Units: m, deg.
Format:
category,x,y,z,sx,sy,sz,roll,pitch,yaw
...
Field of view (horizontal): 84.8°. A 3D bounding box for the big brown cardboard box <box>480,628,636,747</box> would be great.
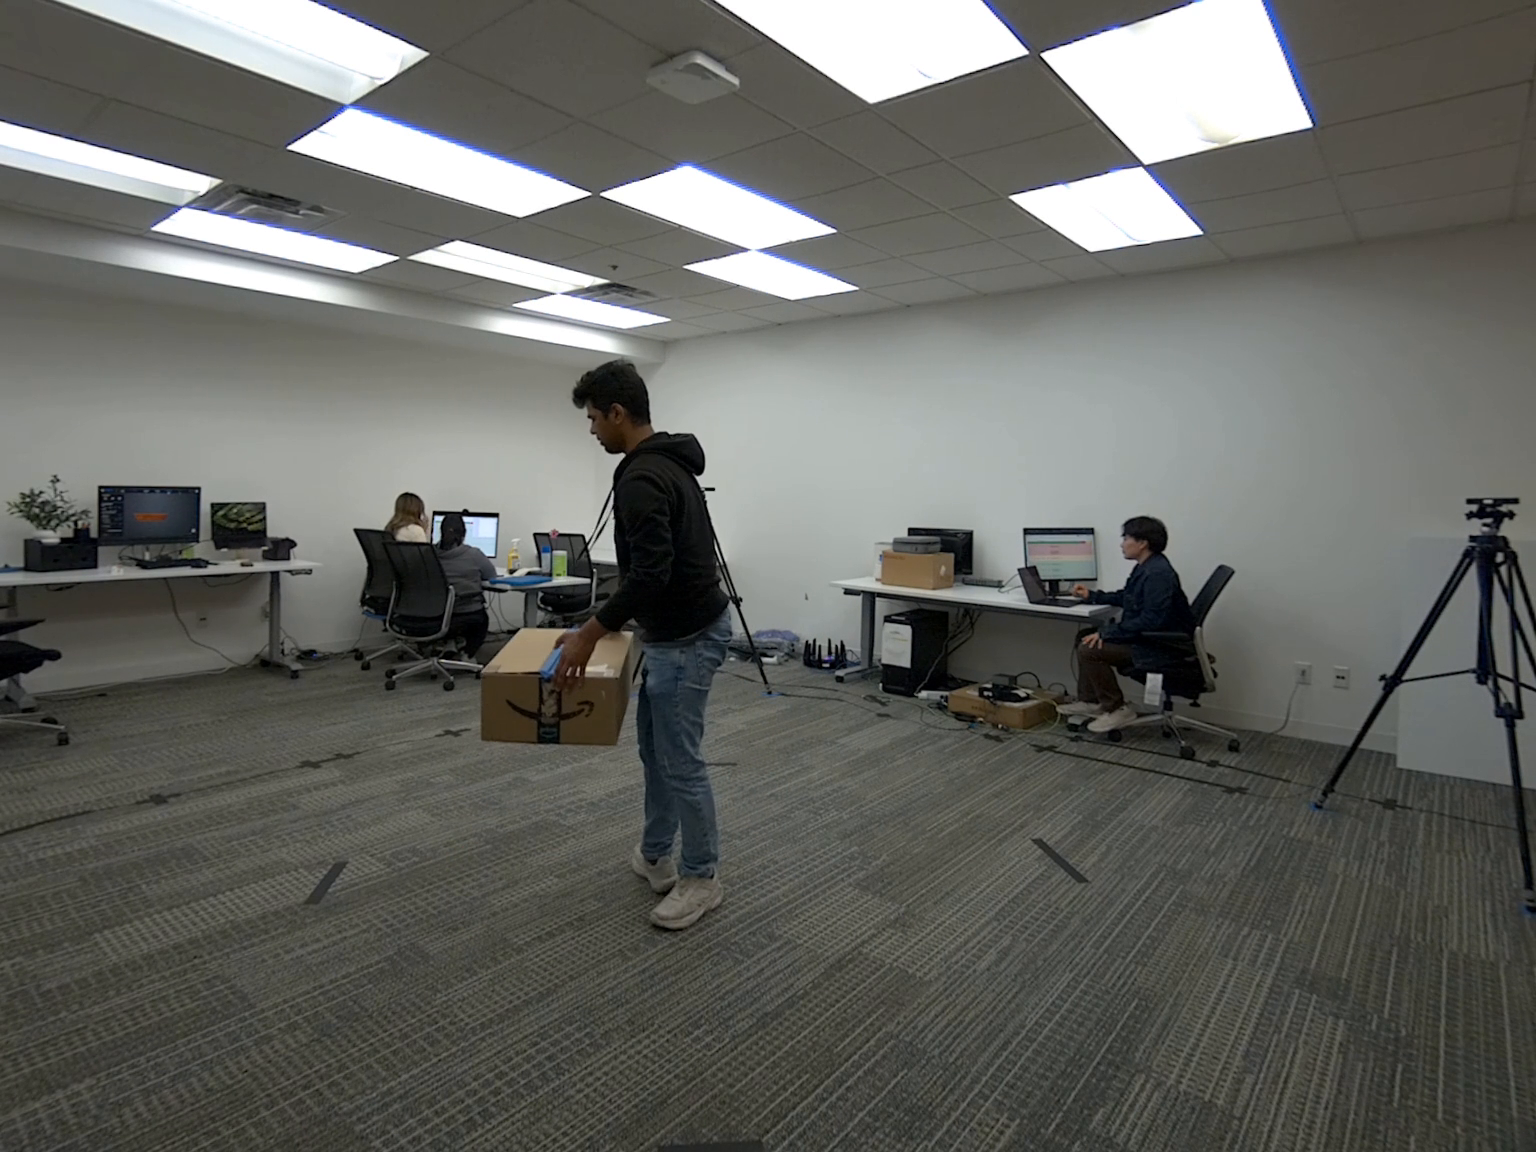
category,x,y,z,sx,sy,sz,roll,pitch,yaw
big brown cardboard box,-0.695,0.358,2.841,0.416,0.231,0.595,2,9,-4
